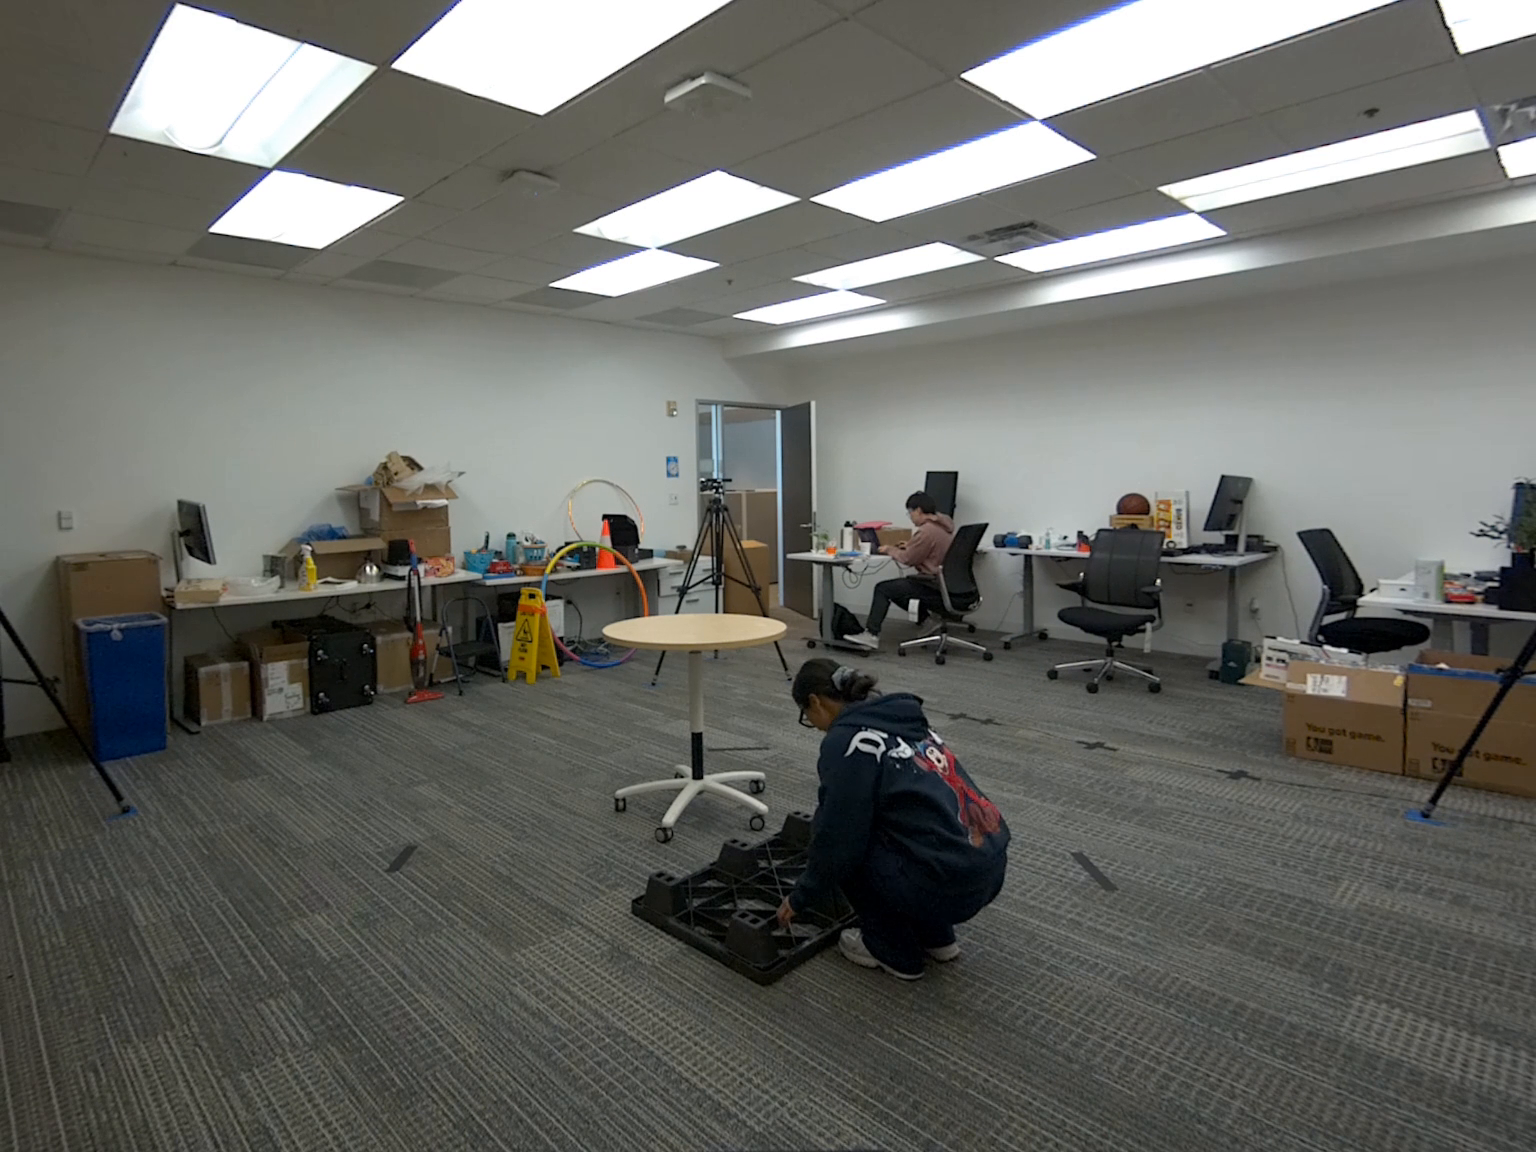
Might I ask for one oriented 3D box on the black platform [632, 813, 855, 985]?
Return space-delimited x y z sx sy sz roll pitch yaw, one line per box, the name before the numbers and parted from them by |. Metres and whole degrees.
black platform | 0.038 1.009 2.839 0.624 0.142 0.785 5 9 43
